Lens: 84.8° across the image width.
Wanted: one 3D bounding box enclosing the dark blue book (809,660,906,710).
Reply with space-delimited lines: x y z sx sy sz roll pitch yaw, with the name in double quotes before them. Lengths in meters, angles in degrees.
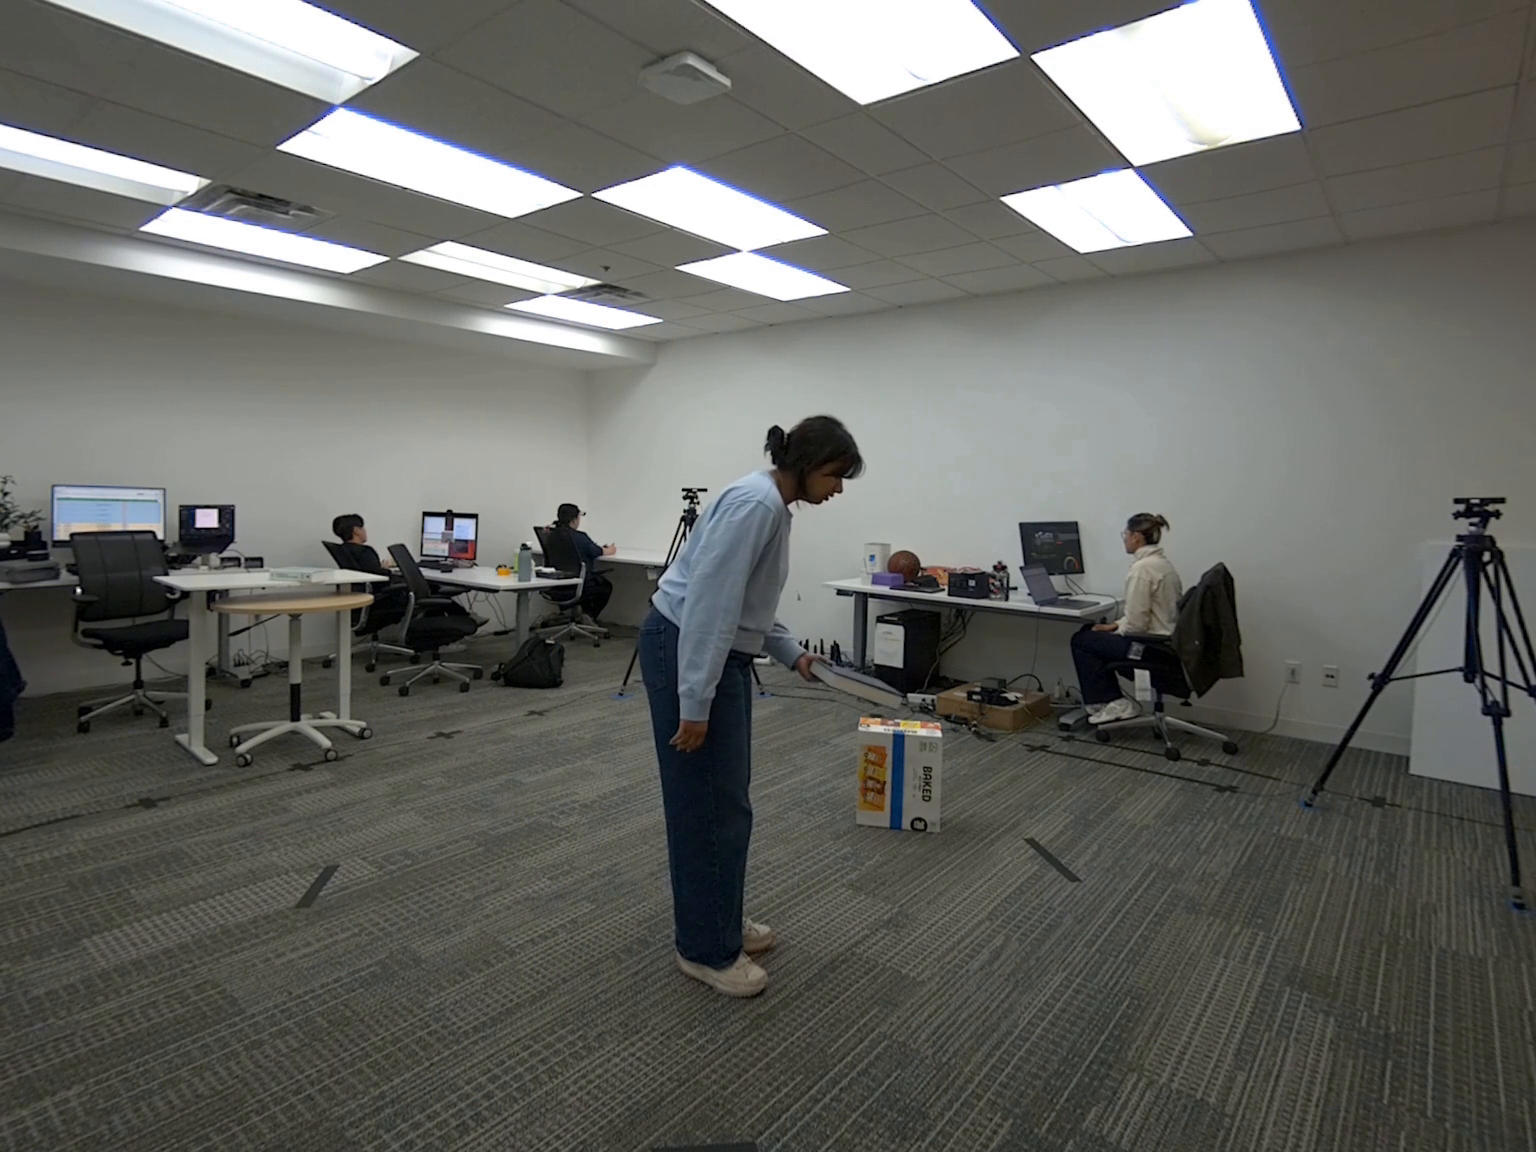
"dark blue book" 0.255 0.317 2.515 0.240 0.045 0.167 21 1 -16
